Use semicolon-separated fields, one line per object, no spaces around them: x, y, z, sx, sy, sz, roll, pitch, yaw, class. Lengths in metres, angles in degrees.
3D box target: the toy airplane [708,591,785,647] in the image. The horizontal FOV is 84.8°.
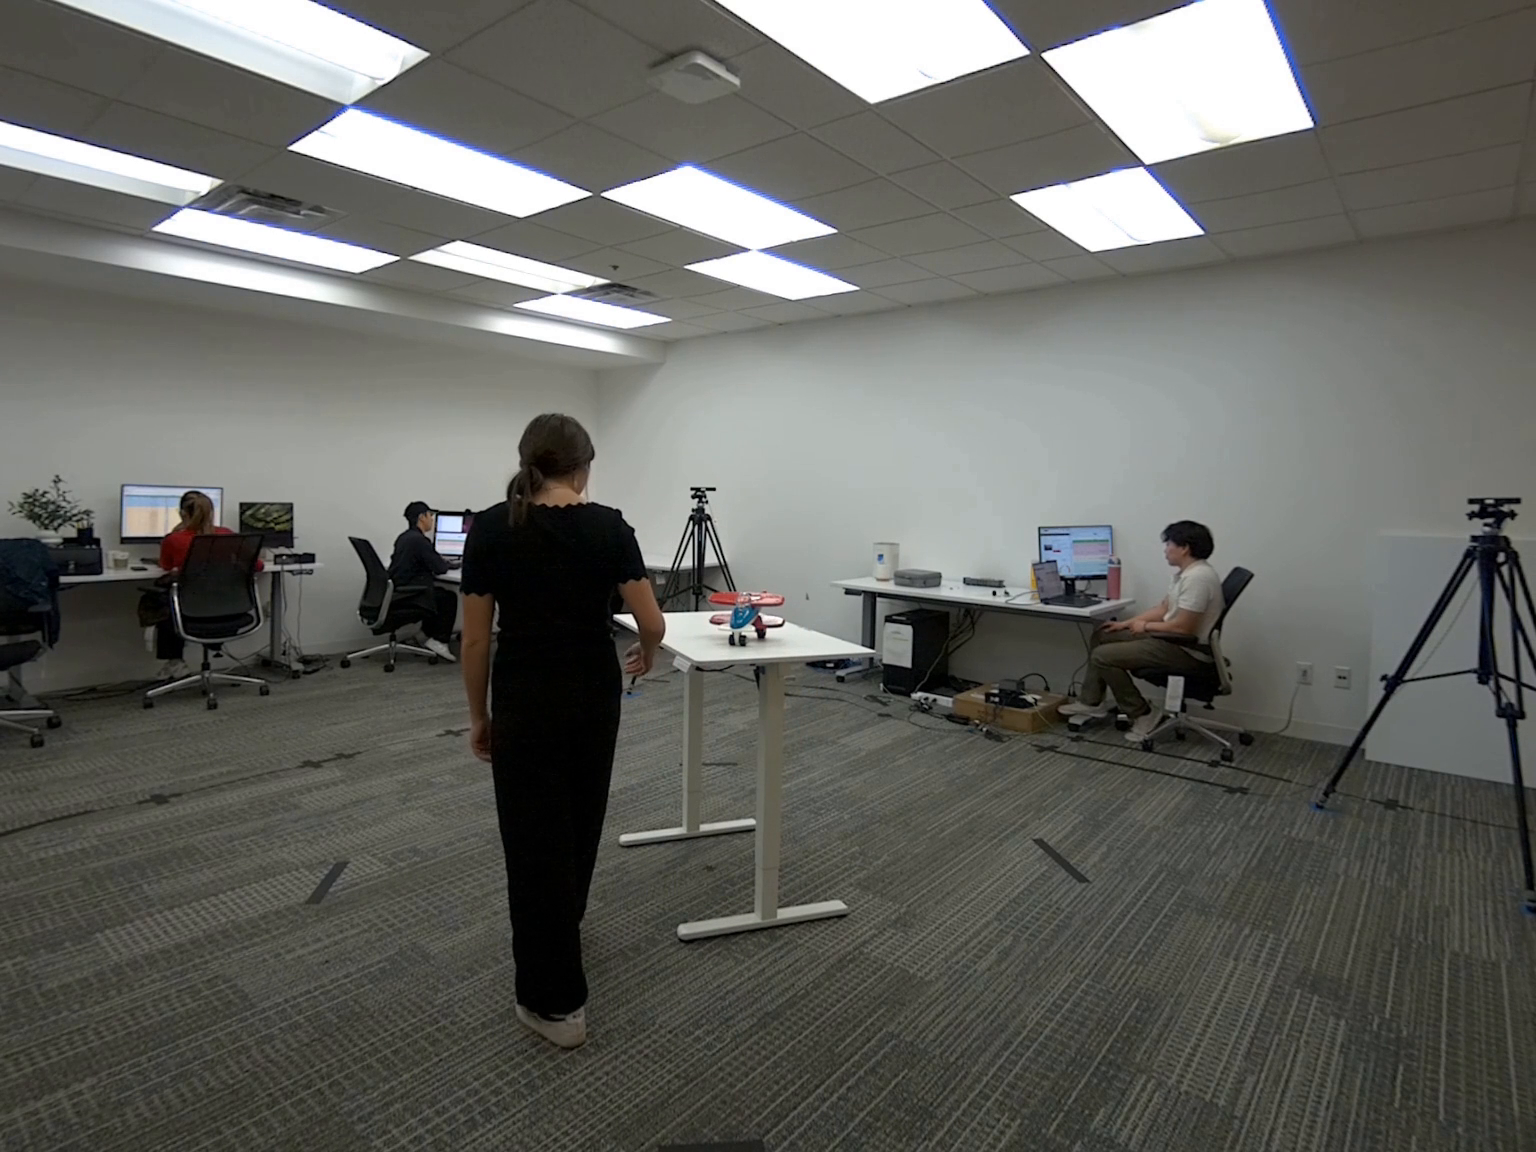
-0.067;0.138;2.811;0.247;0.156;0.264;-2;5;-17;toy airplane
